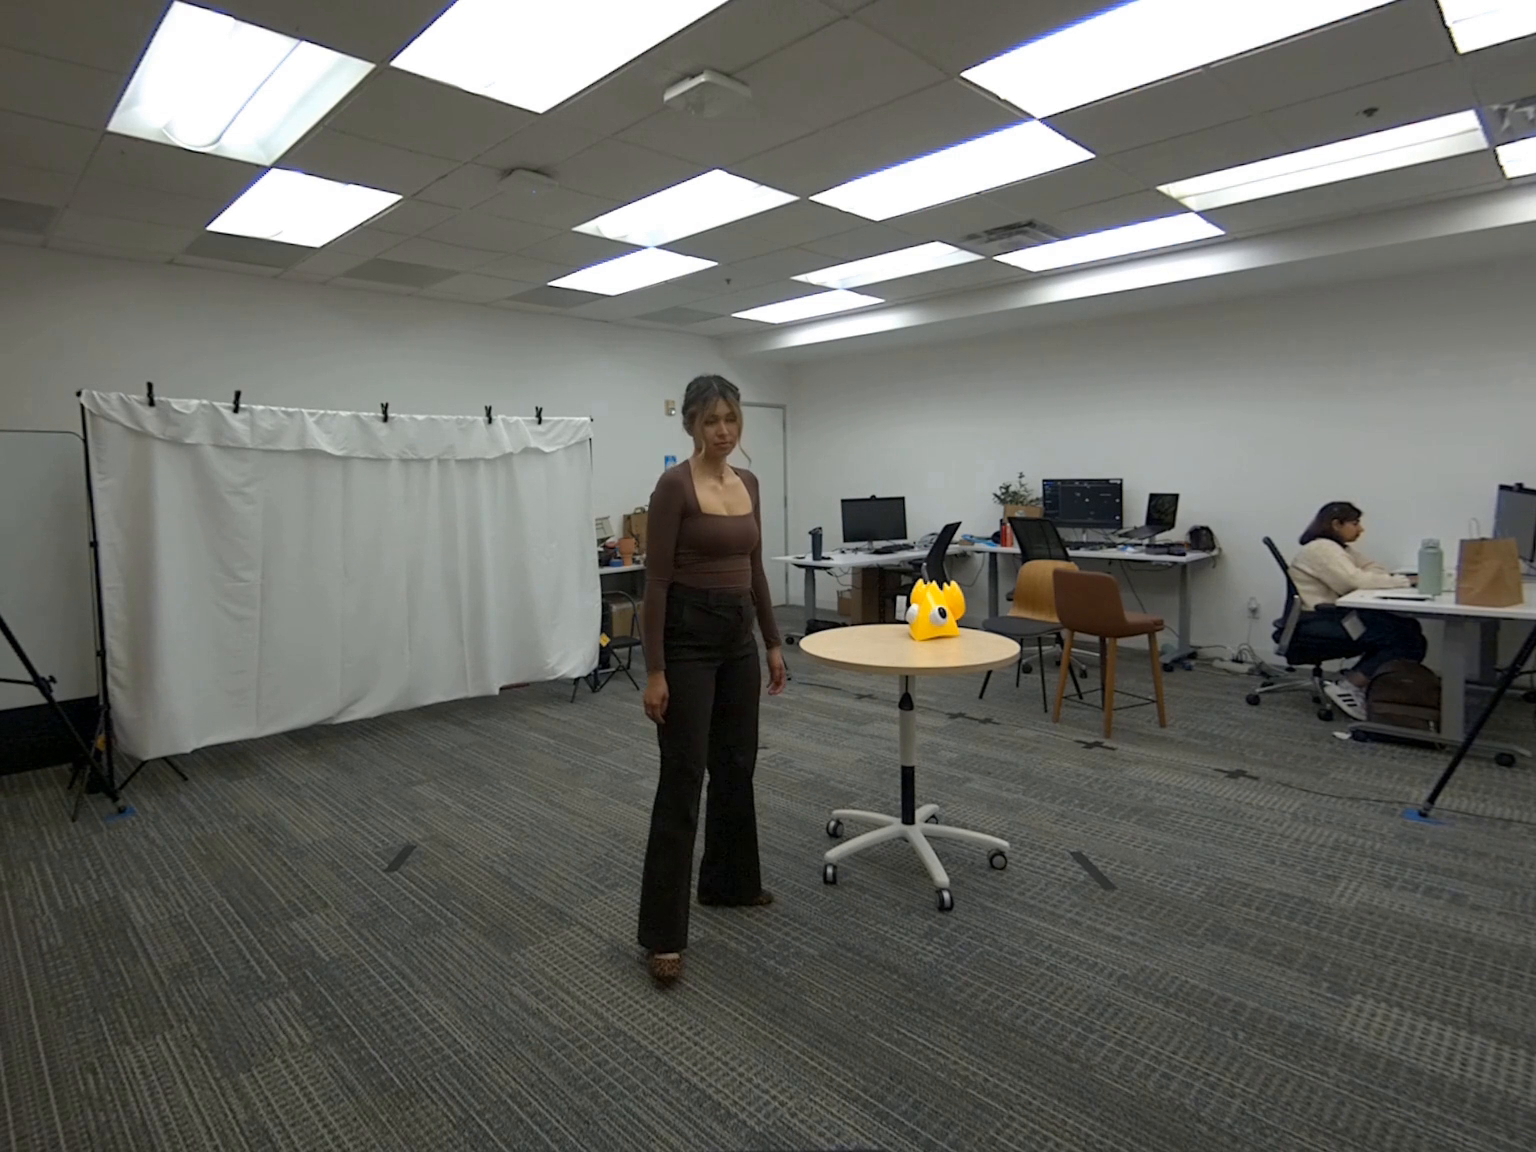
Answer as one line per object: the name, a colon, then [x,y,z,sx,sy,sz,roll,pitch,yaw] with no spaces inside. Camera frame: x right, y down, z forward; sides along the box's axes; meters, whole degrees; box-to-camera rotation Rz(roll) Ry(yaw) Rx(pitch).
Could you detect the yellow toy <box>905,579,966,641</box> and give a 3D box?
yellow toy: [0.597,0.140,3.162,0.210,0.190,0.228,2,20,35]
